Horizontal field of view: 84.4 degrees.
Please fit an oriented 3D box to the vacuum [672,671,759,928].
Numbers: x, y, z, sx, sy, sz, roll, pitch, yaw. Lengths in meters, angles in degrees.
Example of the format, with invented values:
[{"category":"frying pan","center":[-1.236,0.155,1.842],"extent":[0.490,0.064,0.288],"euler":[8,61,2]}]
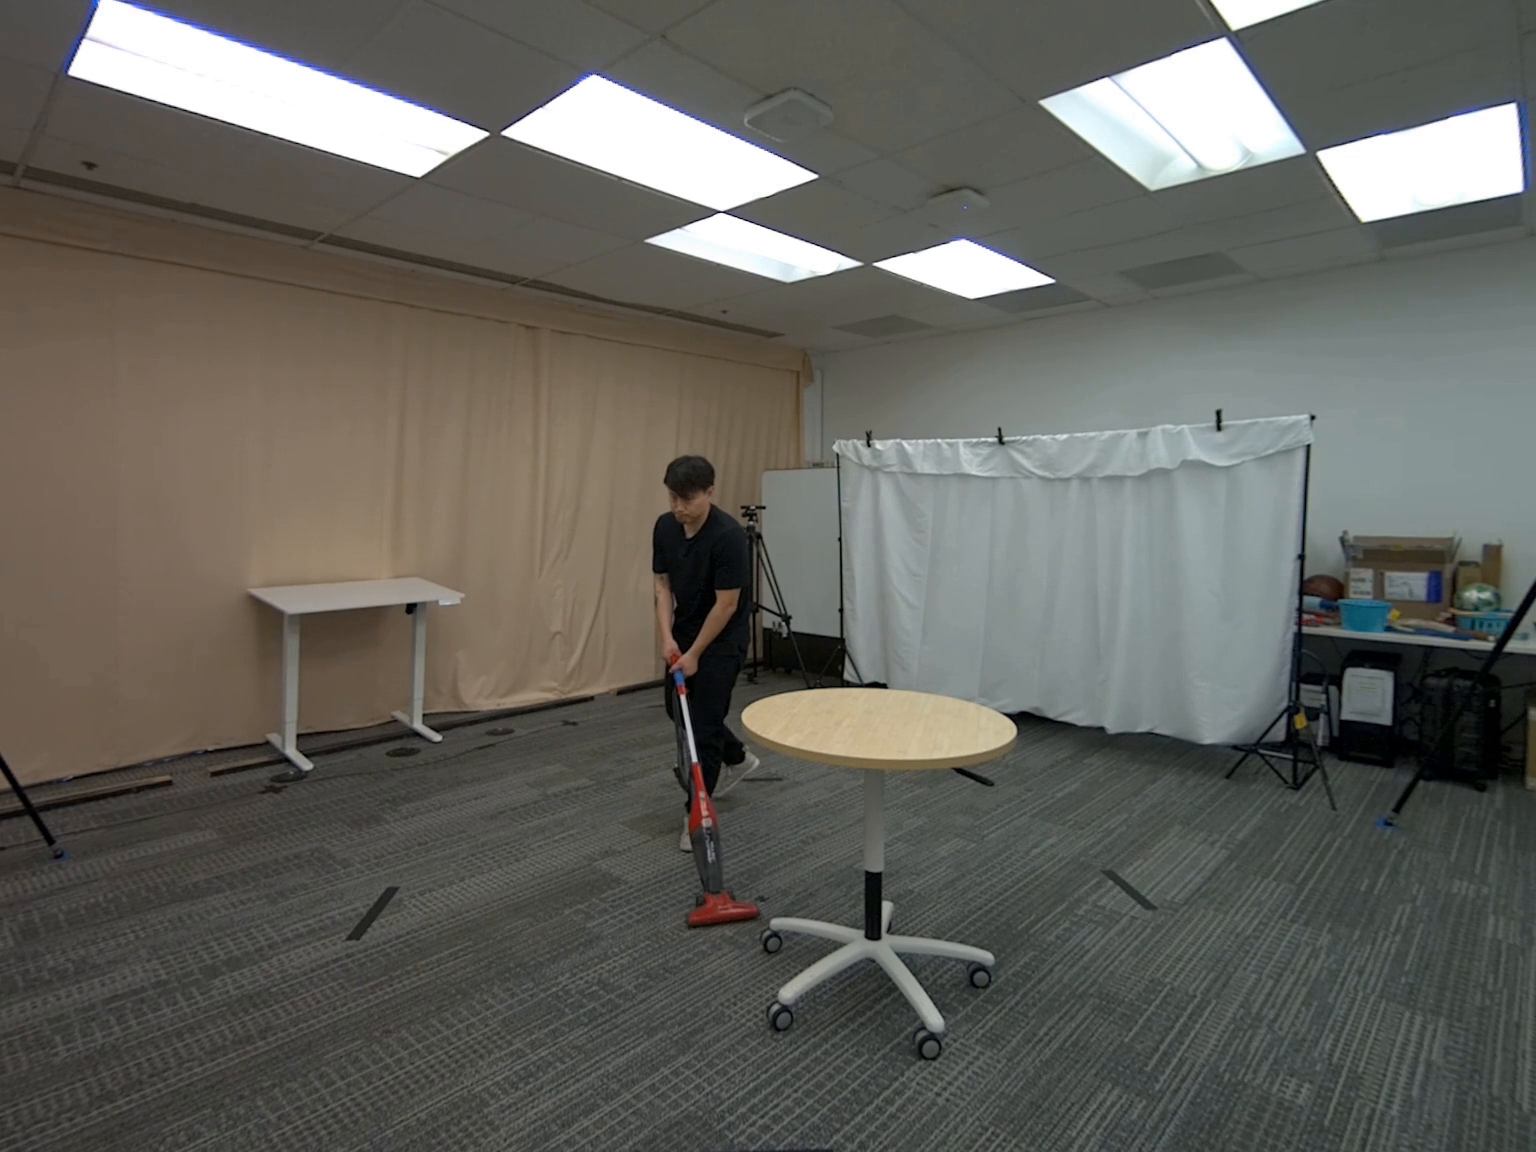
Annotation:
[{"category":"vacuum","center":[-0.277,0.744,3.188],"extent":[0.248,1.077,0.143],"euler":[0,-42,-20]}]
